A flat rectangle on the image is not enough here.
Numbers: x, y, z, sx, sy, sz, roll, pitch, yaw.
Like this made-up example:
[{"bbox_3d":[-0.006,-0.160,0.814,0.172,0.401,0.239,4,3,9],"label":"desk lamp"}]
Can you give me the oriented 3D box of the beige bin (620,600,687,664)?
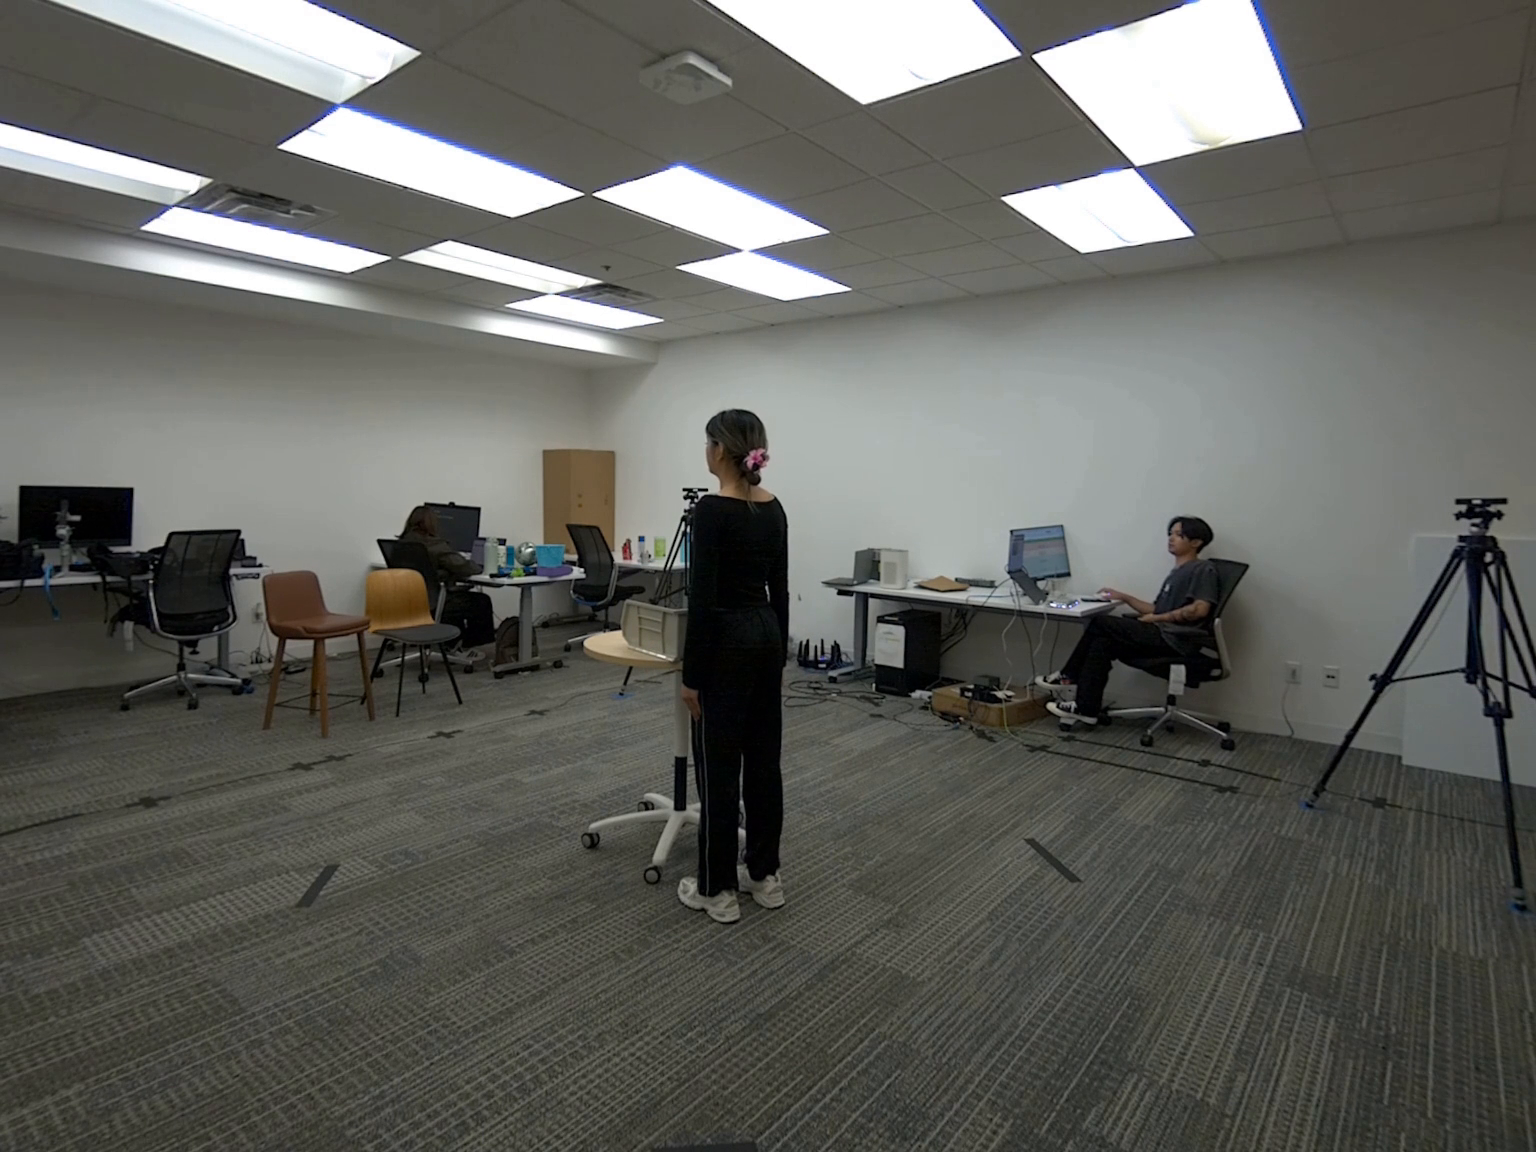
[{"bbox_3d":[-0.282,0.179,3.151,0.410,0.188,0.390,-2,7,-38],"label":"beige bin"}]
